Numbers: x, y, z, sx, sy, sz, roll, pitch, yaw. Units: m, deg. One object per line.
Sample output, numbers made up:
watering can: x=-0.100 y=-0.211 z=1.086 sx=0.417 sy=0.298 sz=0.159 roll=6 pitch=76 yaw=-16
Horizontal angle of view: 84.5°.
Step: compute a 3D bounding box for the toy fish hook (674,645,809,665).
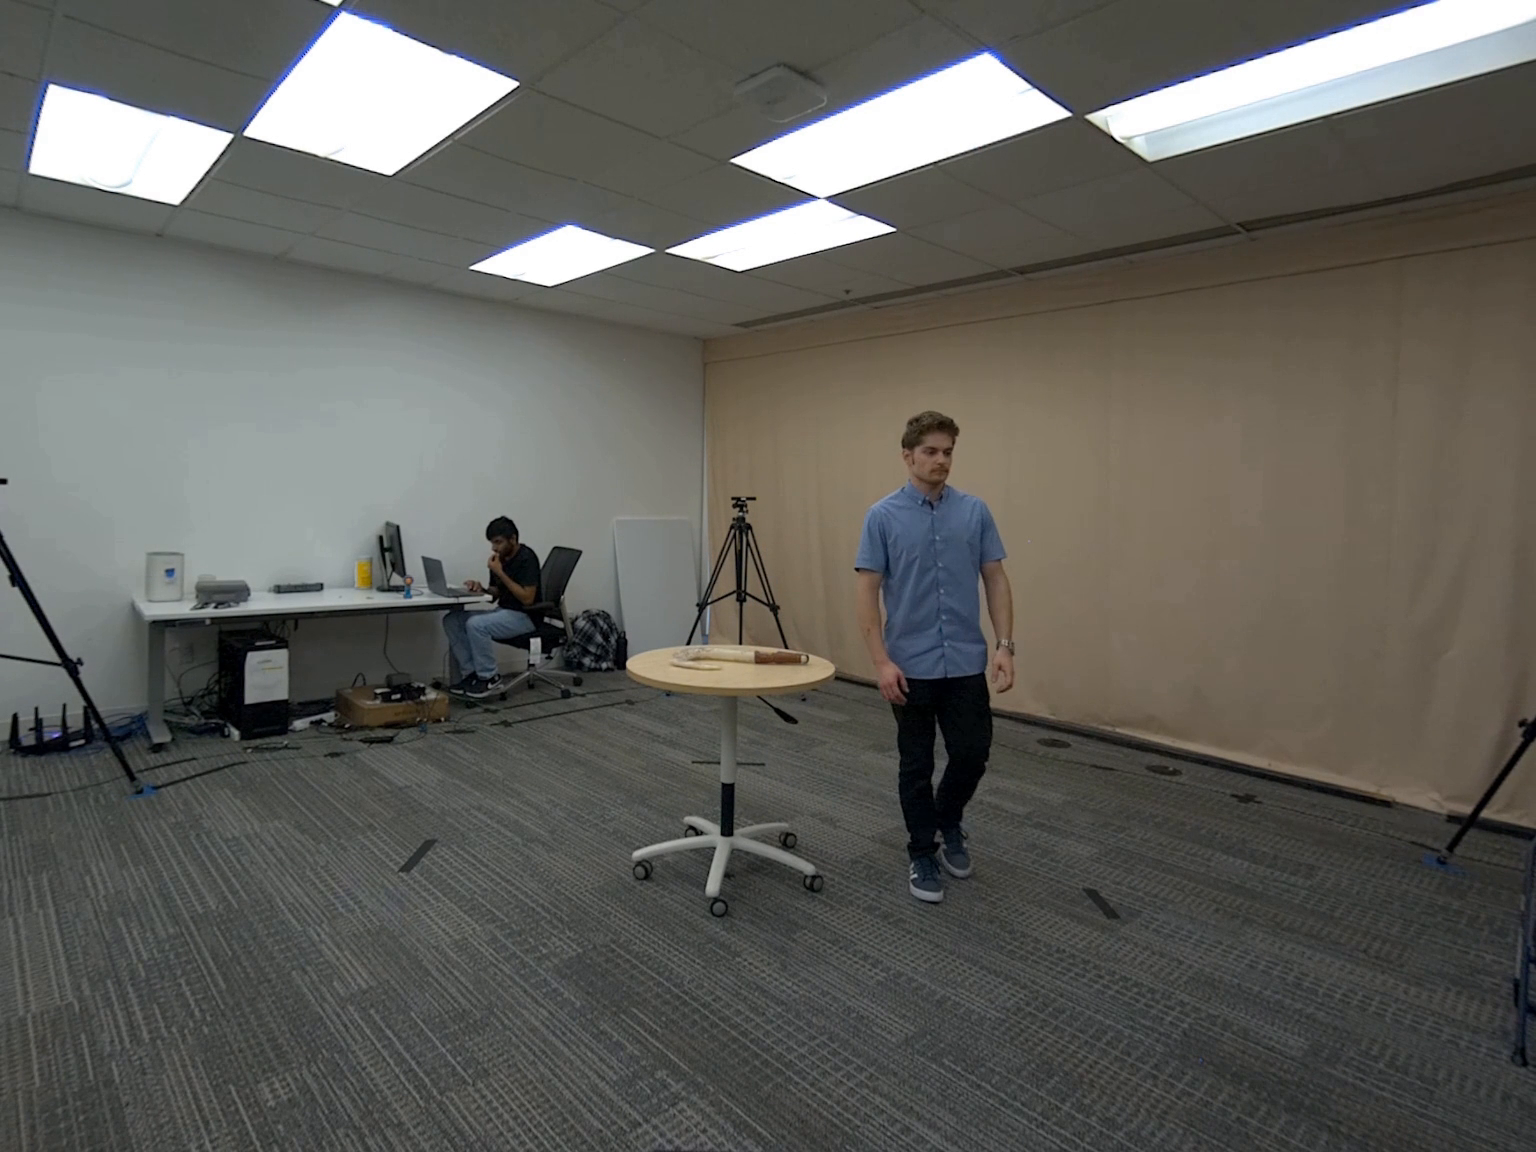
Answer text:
toy fish hook: x=-0.104 y=0.311 z=3.076 sx=0.507 sy=0.048 sz=0.226 roll=0 pitch=12 yaw=2
